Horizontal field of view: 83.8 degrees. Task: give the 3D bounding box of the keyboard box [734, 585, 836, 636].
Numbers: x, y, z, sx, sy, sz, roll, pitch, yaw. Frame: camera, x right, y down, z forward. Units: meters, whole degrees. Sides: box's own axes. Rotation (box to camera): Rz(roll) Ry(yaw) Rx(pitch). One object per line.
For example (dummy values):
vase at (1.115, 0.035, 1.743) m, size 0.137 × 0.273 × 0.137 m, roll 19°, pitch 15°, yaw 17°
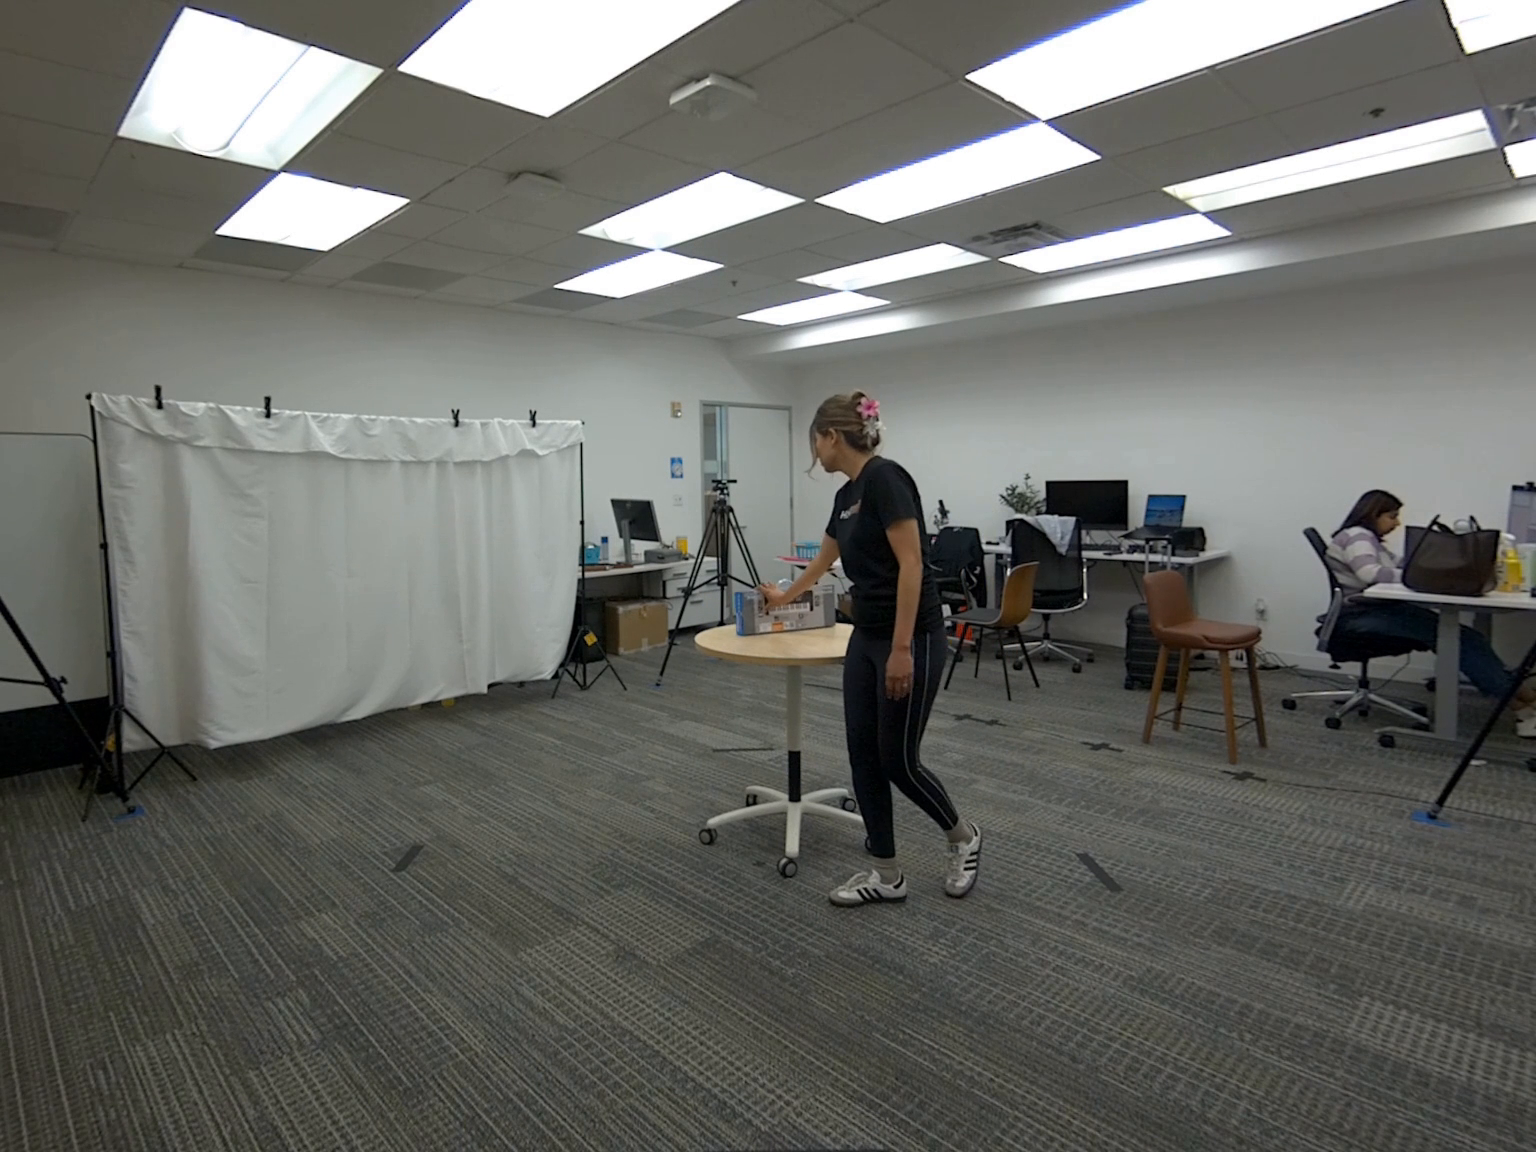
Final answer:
keyboard box at (0.075, 0.136, 3.452) m, size 0.427 × 0.176 × 0.060 m, roll -4°, pitch 1°, yaw -26°
